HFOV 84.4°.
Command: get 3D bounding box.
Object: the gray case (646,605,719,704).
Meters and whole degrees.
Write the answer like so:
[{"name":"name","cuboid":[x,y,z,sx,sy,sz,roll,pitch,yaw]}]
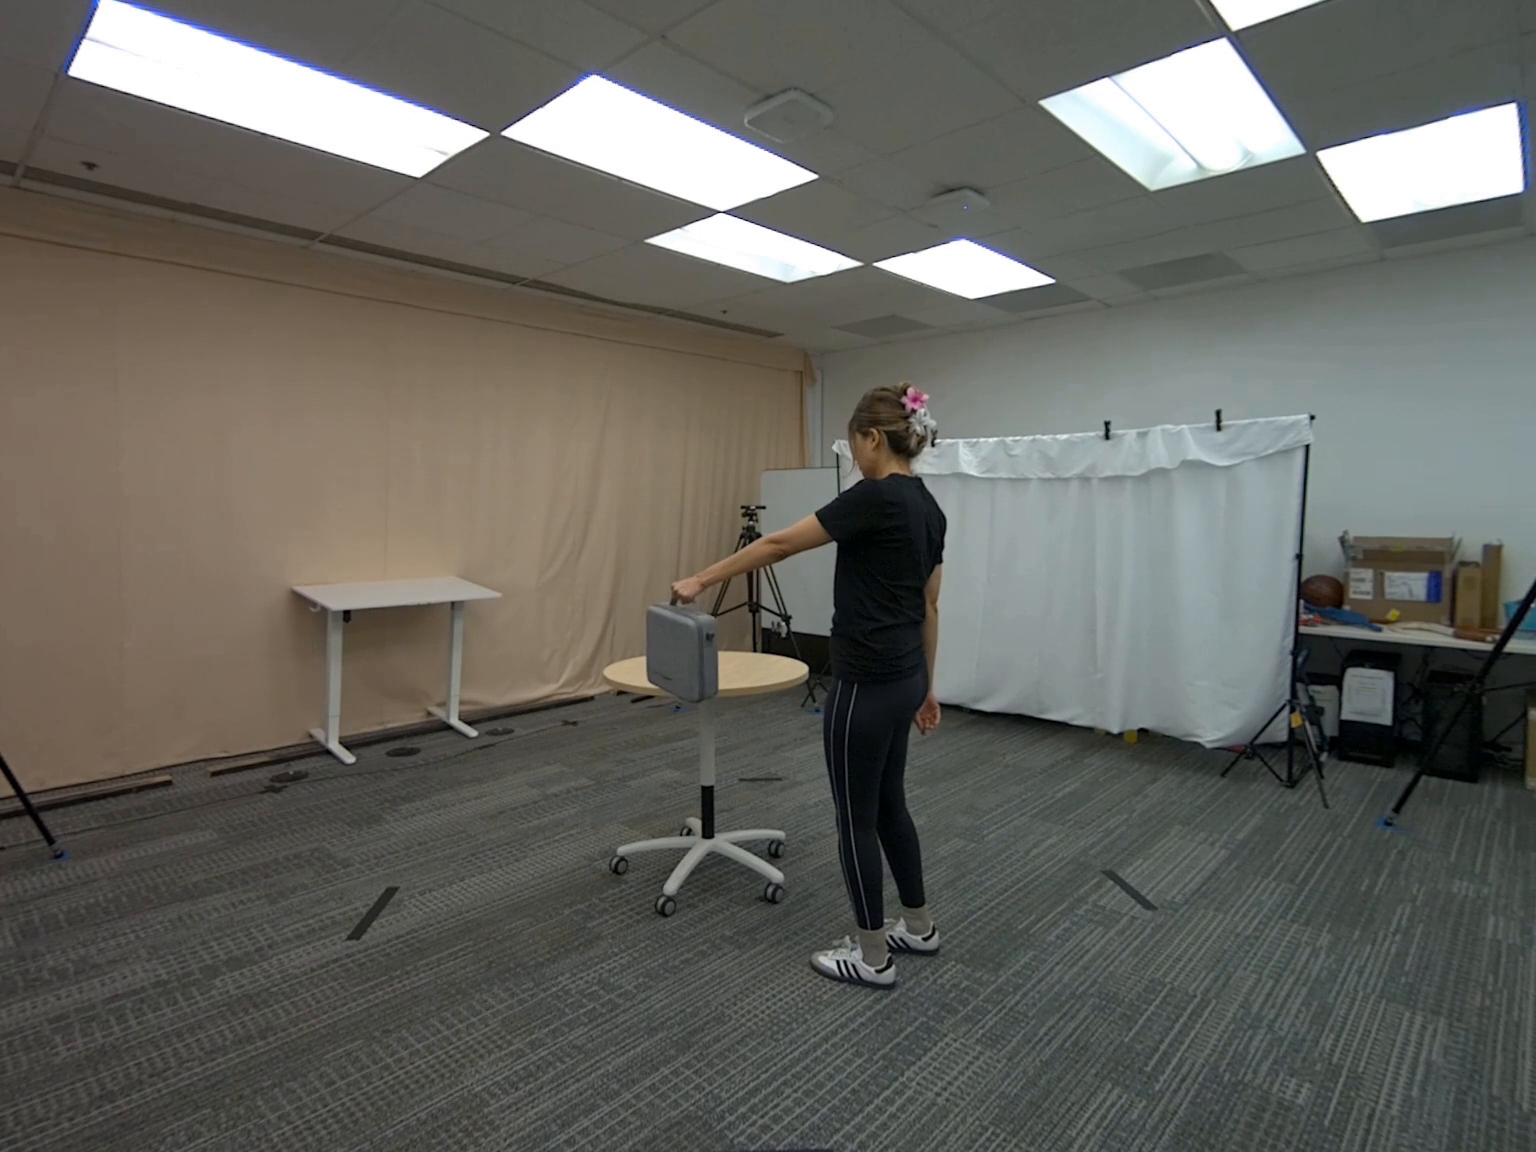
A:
[{"name":"gray case","cuboid":[-0.256,0.217,2.501,0.101,0.259,0.266,-7,14,-39]}]
